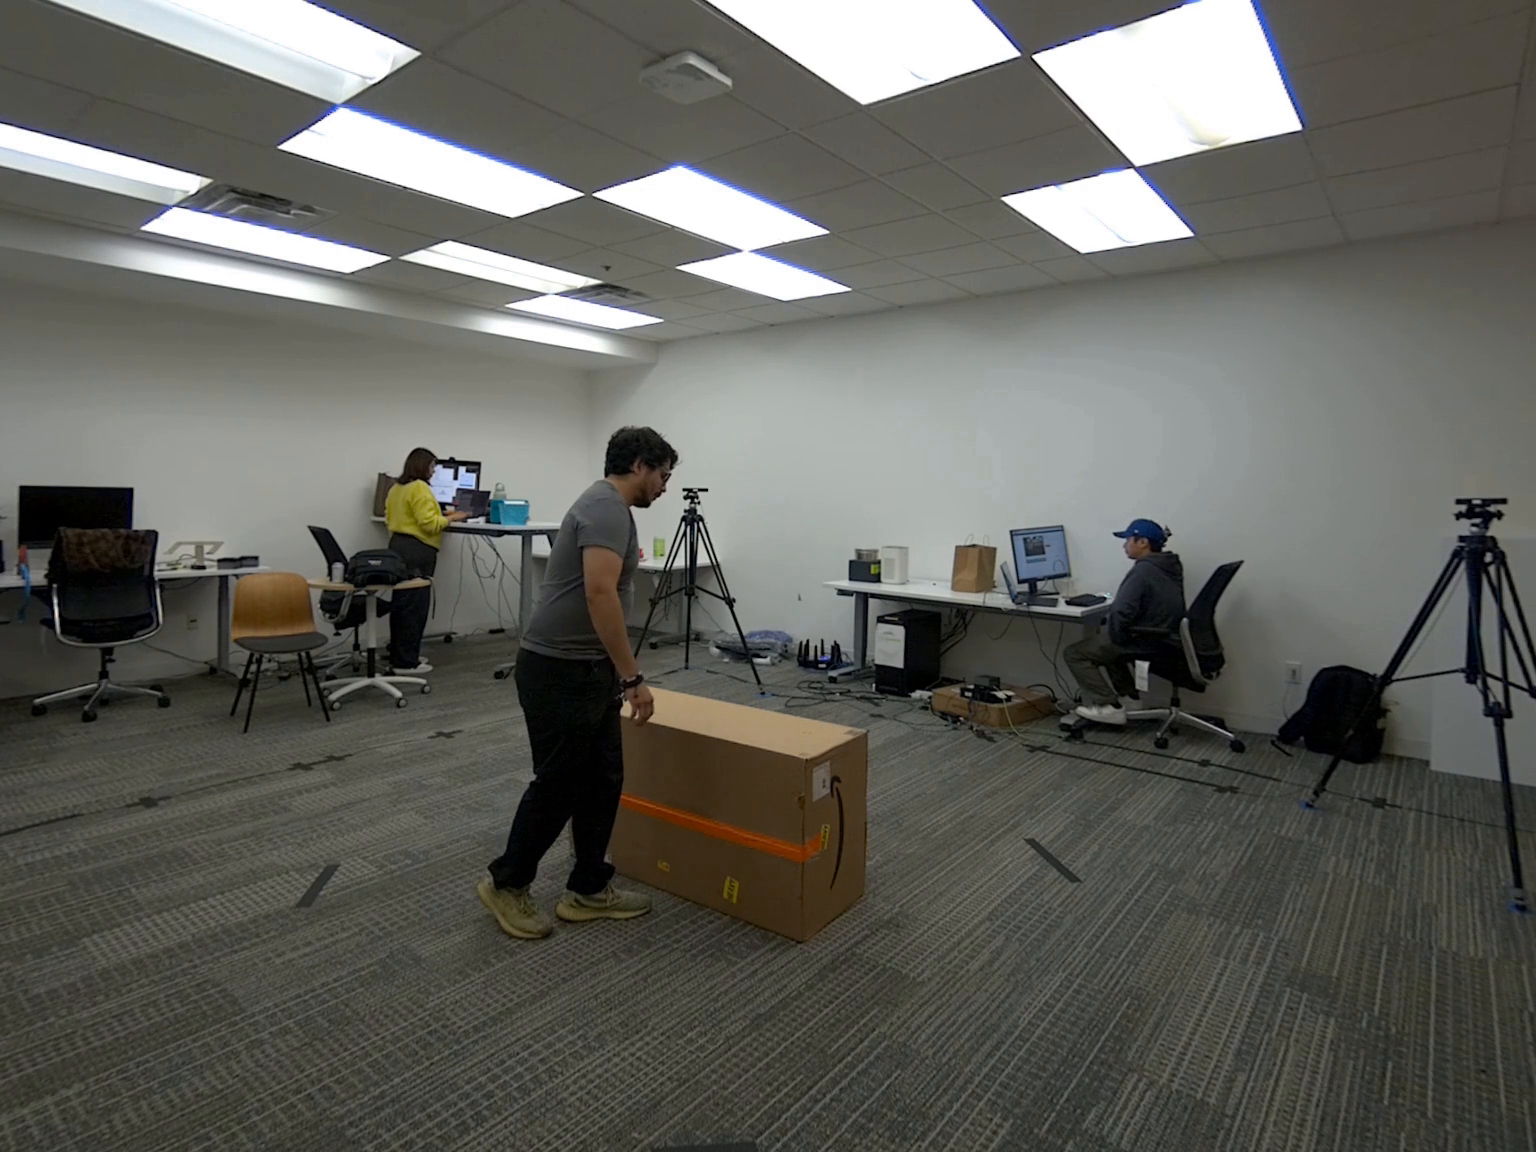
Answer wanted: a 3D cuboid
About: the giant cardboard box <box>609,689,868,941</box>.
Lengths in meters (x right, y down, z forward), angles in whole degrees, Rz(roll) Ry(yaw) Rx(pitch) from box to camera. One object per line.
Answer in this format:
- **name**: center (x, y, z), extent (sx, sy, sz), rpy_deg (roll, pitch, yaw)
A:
- **giant cardboard box**: center (-0.209, 0.784, 3.056), extent (1.059, 0.575, 0.414), rpy_deg (4, 5, 35)
